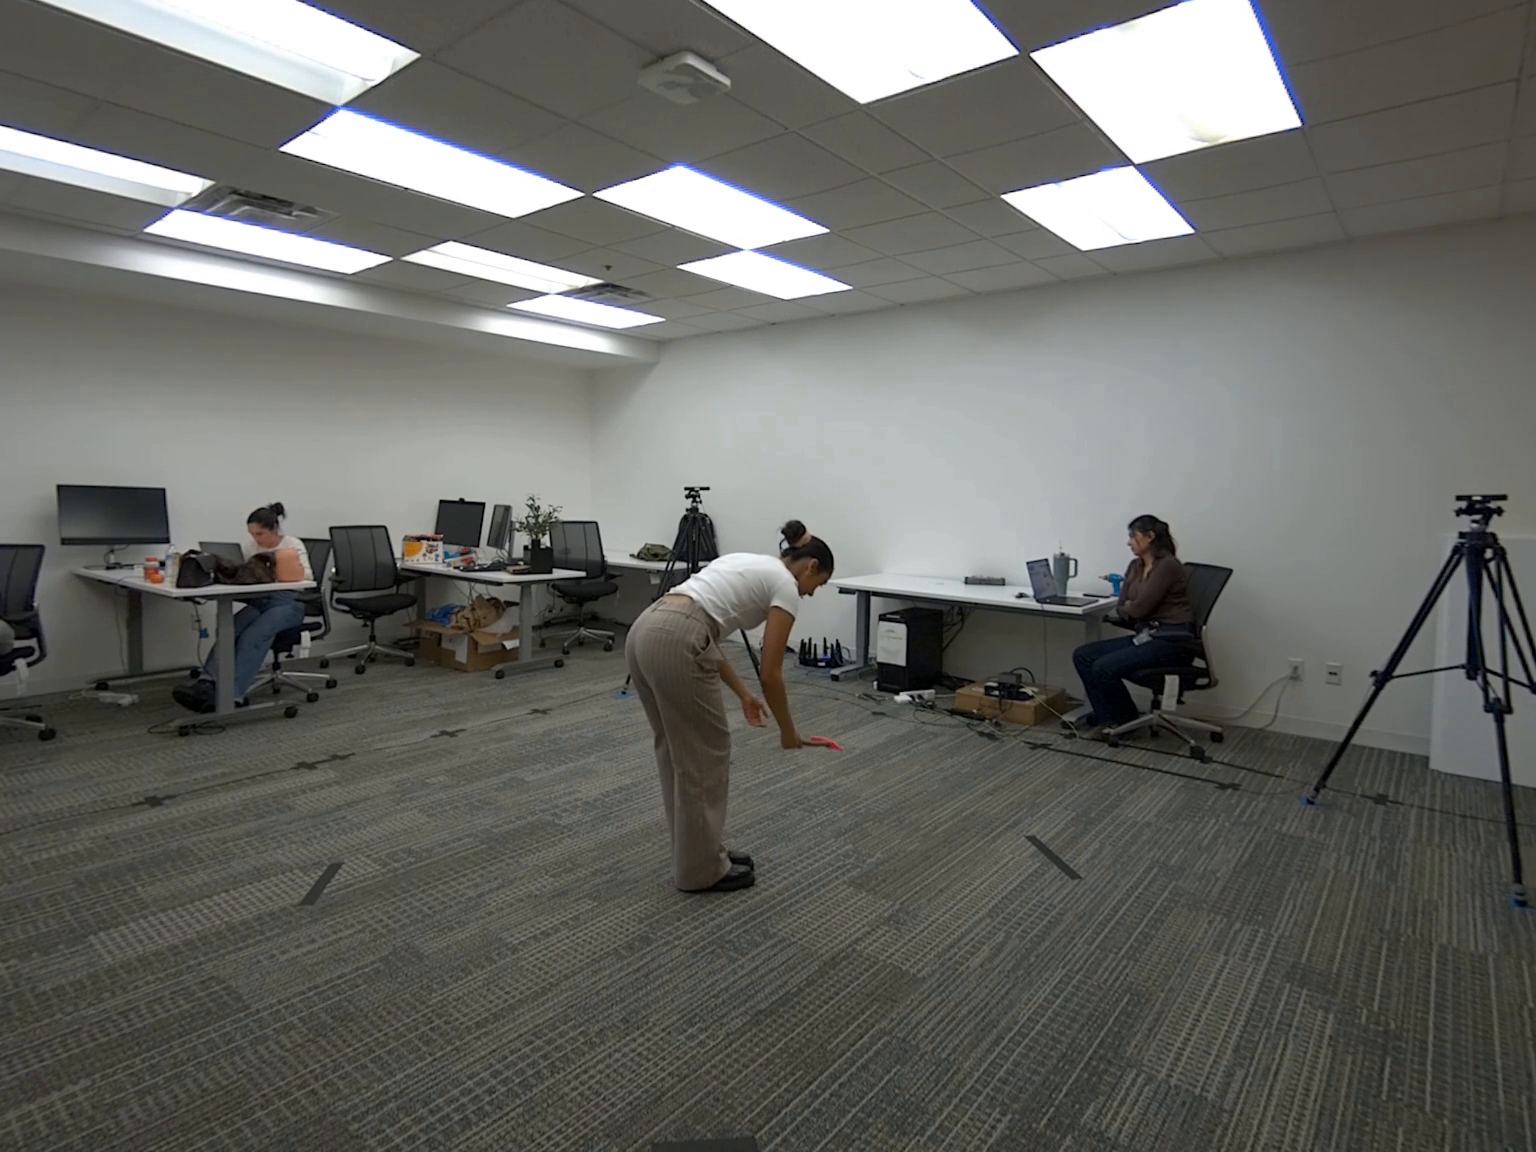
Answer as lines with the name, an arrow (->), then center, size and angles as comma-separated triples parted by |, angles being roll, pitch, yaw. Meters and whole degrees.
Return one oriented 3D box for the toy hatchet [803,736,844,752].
toy hatchet -> 0.146, 0.609, 3.204 | 0.260, 0.029, 0.136 | 19, 3, -36
